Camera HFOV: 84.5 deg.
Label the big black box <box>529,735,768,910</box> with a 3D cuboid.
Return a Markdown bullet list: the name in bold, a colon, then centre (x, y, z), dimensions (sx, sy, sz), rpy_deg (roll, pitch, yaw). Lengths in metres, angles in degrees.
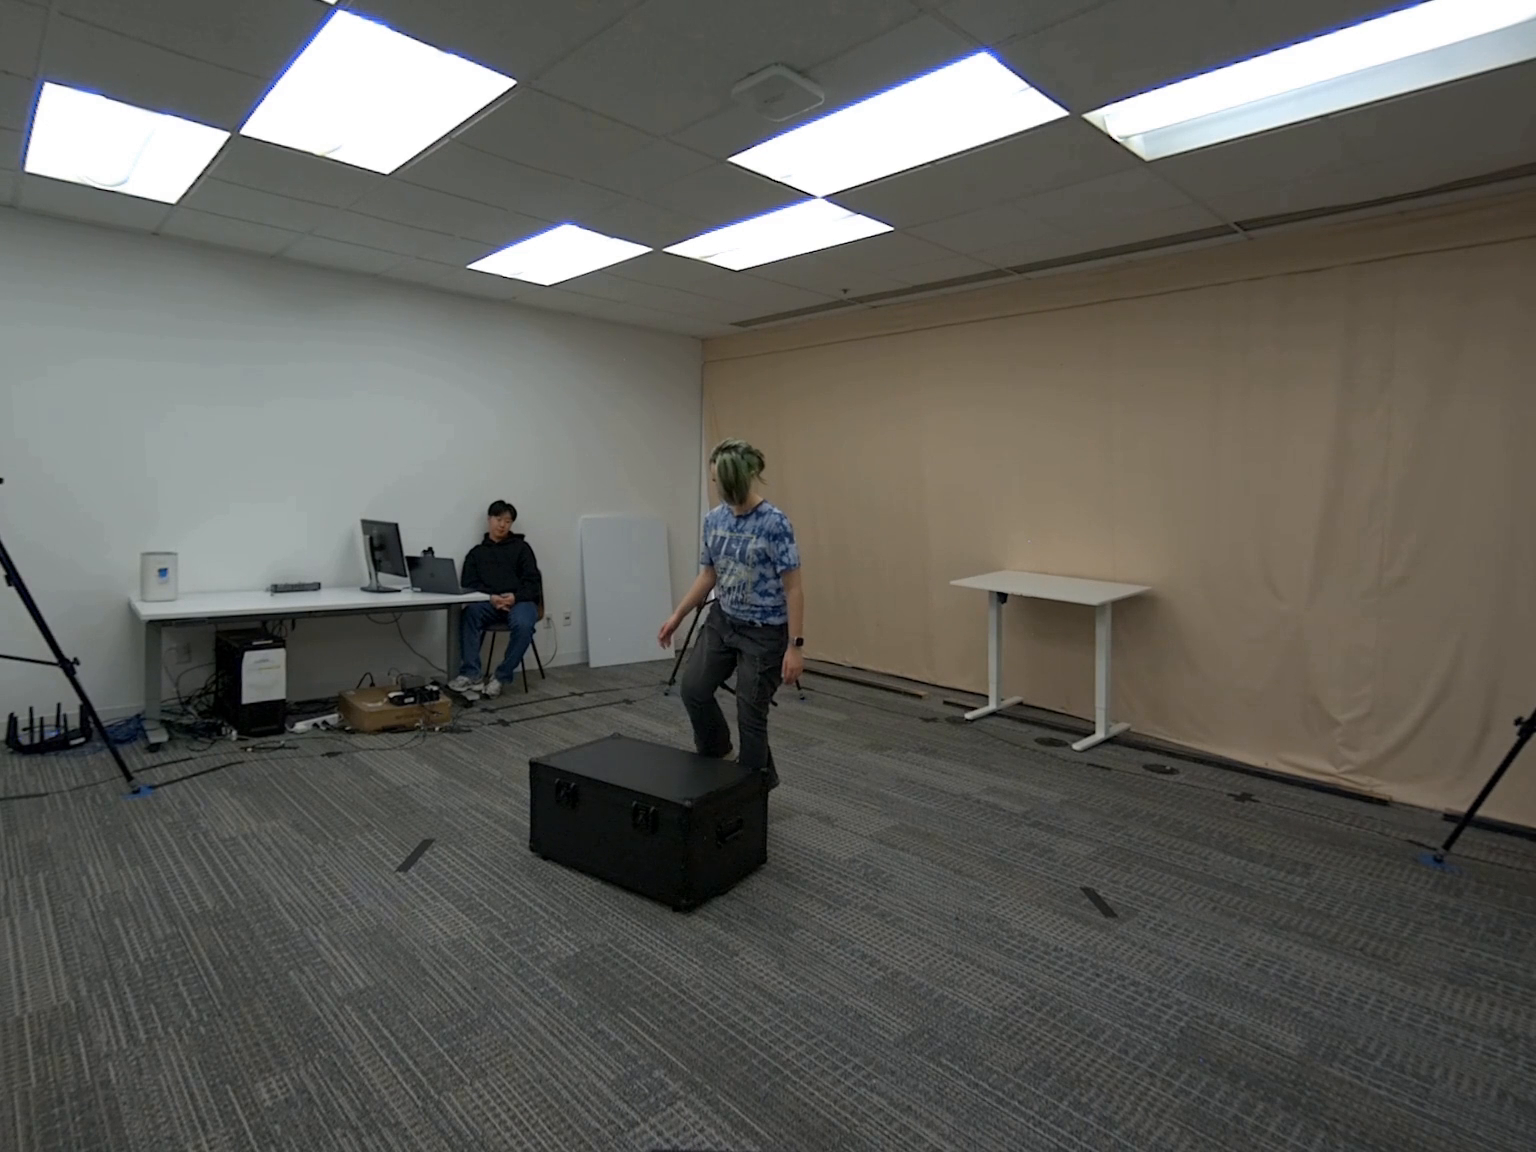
- **big black box**: centre (-0.491, 0.898, 3.204), dimensions (0.882, 0.395, 0.510), rpy_deg (5, 6, 34)
